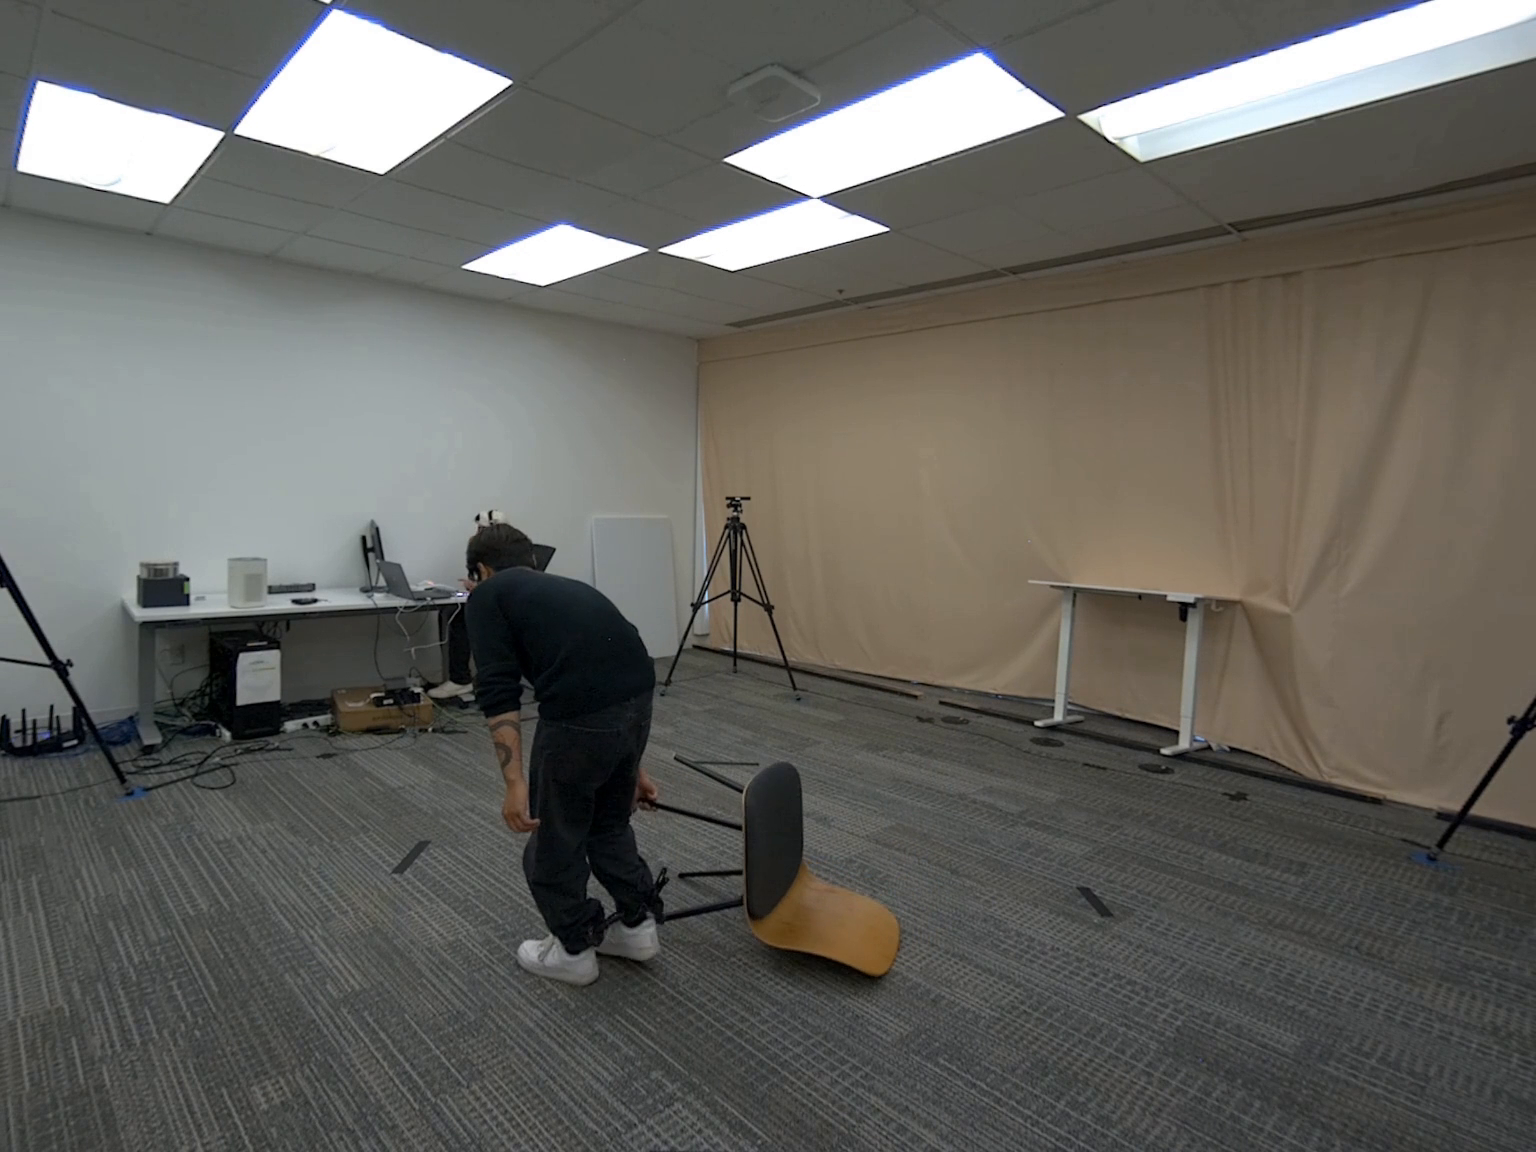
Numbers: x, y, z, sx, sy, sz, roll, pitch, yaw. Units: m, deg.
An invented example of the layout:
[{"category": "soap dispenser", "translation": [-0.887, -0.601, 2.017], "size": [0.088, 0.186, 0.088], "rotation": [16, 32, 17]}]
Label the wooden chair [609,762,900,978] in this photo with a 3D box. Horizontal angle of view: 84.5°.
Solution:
[{"category": "wooden chair", "translation": [-0.021, 0.889, 2.700], "size": [0.894, 0.522, 0.470], "rotation": [5, 4, 24]}]
